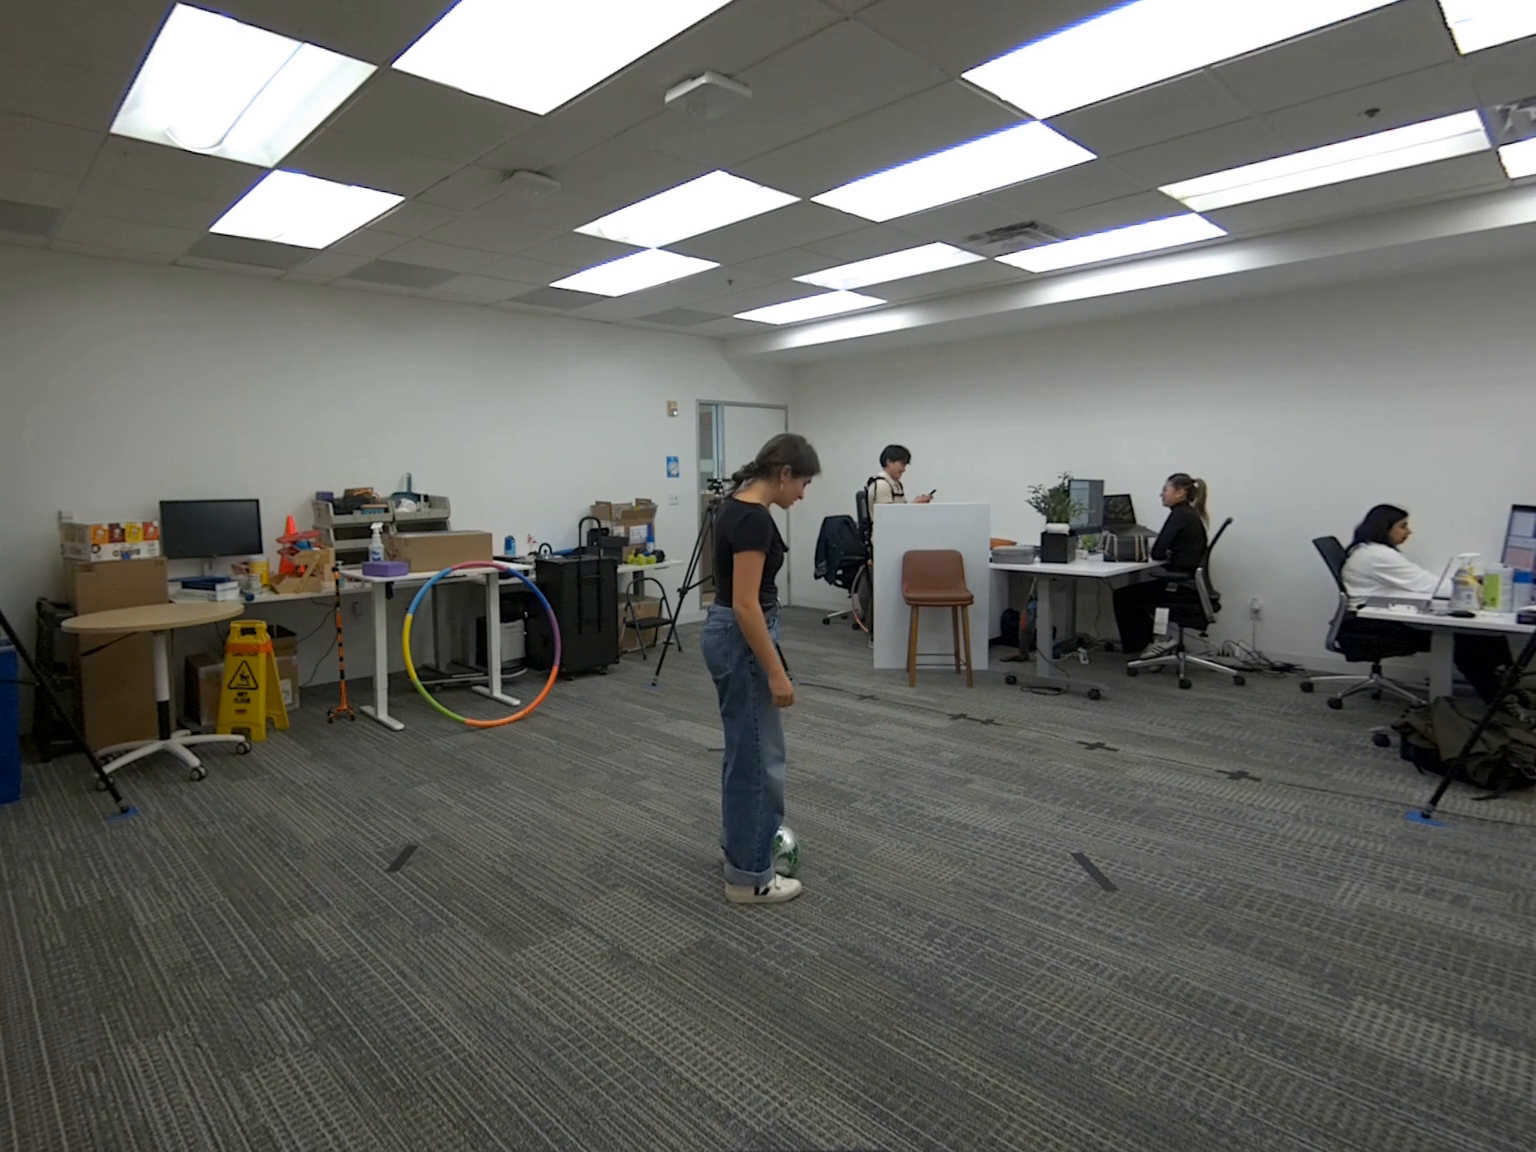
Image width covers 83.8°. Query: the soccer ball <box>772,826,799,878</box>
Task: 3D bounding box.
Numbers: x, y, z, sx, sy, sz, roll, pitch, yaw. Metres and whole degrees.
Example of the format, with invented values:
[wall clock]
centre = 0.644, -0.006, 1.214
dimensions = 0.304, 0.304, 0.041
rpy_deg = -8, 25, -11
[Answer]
[soccer ball]
centre = 0.037, 0.971, 2.991
dimensions = 0.187, 0.187, 0.188
rpy_deg = -1, 5, -2
